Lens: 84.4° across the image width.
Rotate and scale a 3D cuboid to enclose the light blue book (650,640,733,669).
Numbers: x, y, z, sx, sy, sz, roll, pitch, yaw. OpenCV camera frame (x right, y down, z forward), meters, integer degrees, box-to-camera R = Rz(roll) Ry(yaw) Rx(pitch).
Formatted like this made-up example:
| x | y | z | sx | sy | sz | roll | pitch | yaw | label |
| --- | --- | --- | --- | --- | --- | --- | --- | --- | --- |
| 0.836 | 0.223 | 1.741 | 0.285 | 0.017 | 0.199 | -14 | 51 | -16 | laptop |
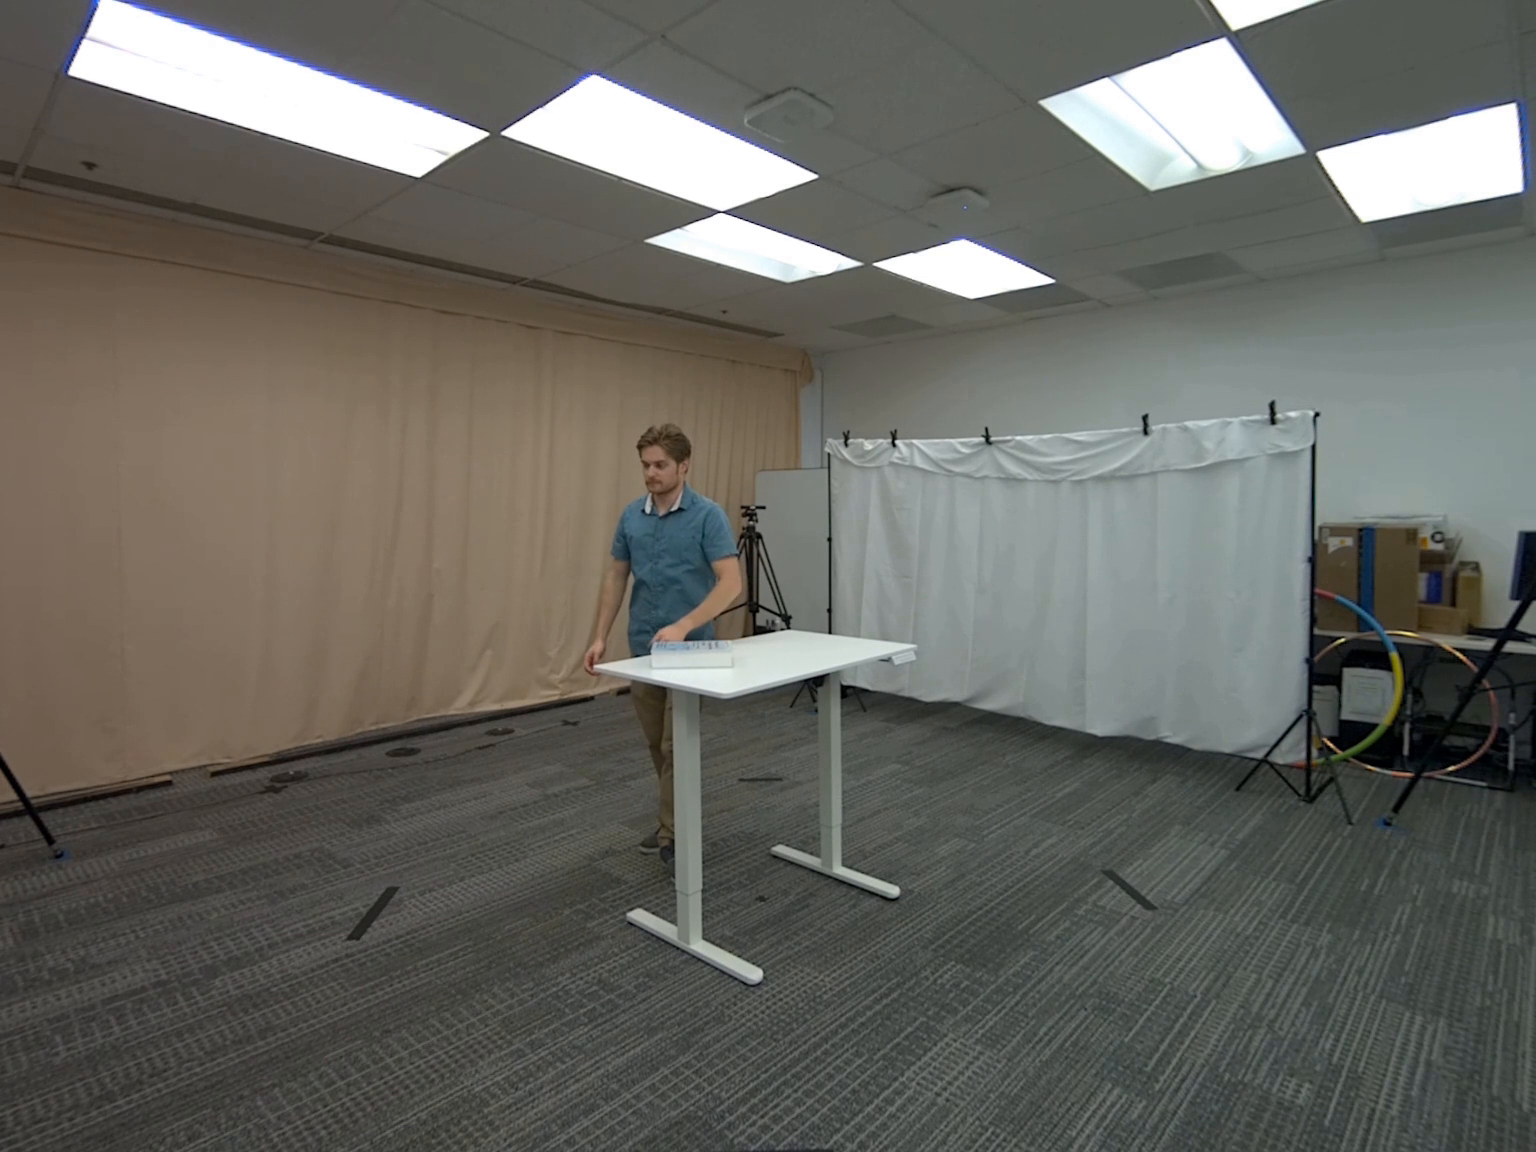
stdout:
| x | y | z | sx | sy | sz | roll | pitch | yaw | label |
| --- | --- | --- | --- | --- | --- | --- | --- | --- | --- |
| -0.244 | 0.257 | 2.748 | 0.261 | 0.059 | 0.192 | -1 | 5 | -2 | light blue book |
